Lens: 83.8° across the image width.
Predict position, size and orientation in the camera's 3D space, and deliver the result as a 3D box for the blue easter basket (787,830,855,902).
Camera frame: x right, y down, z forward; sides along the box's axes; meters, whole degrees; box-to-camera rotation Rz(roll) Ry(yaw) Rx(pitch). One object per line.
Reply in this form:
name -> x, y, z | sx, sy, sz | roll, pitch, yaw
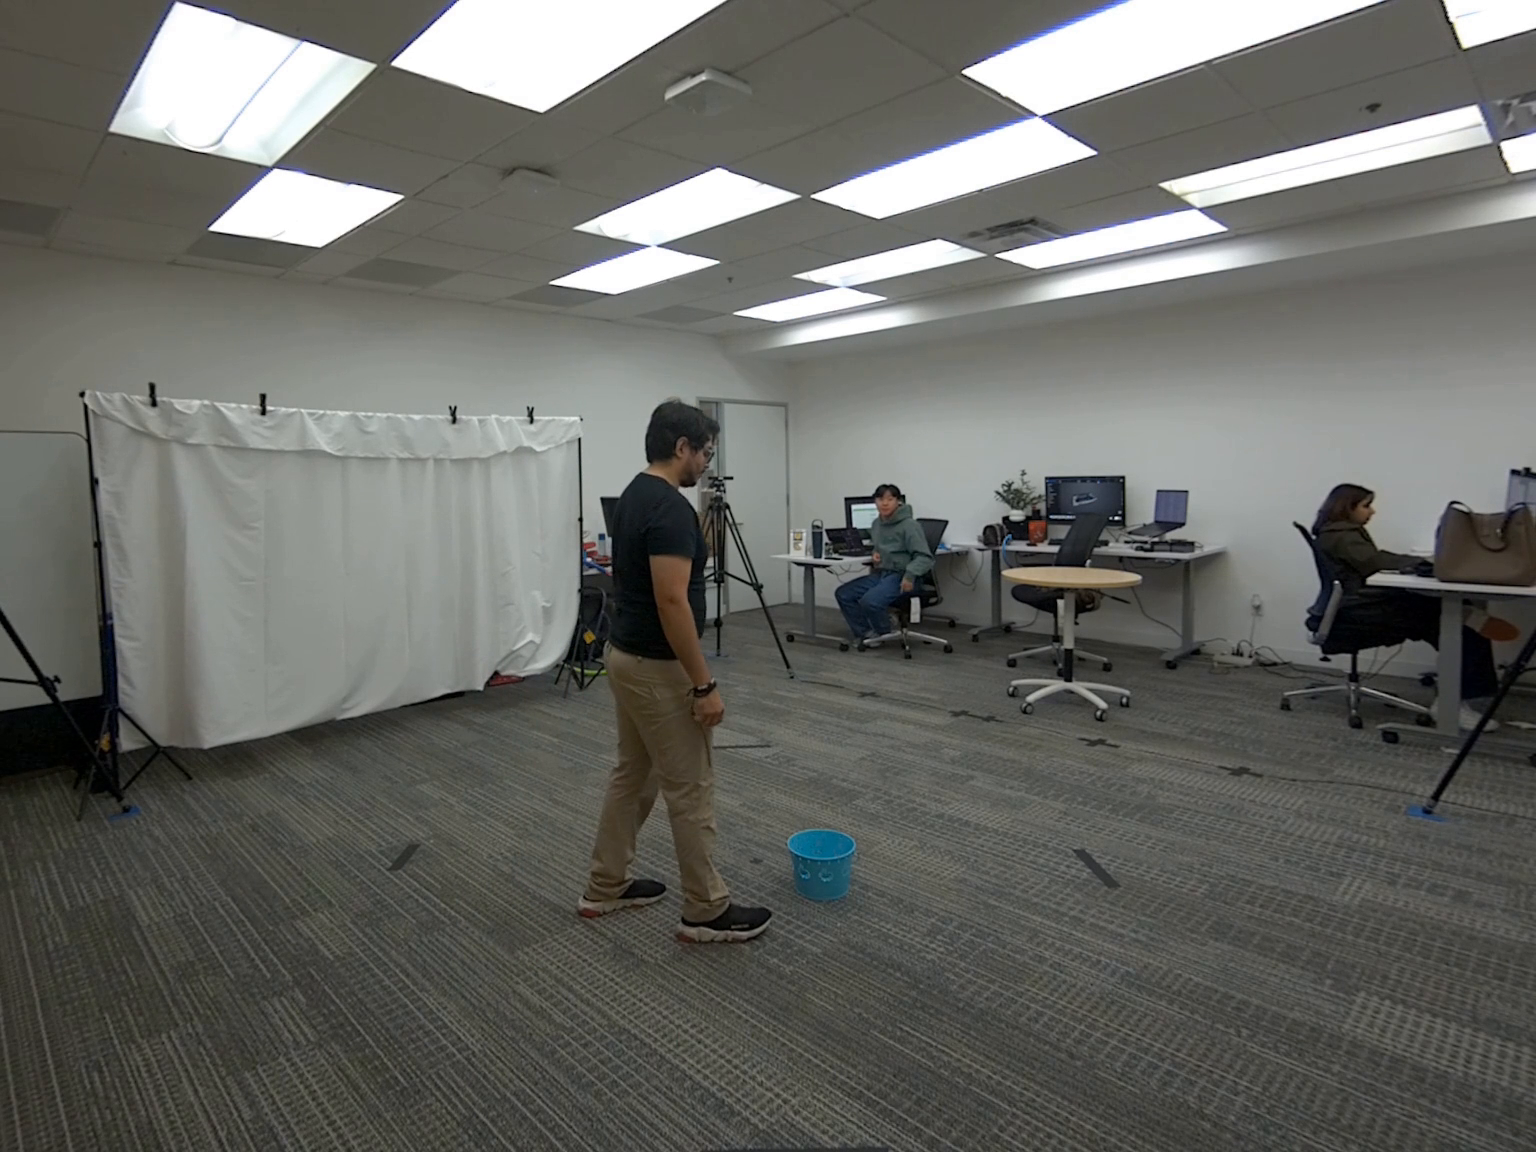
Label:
blue easter basket -> 0.185, 0.978, 2.897 | 0.243, 0.155, 0.245 | -2, 5, -2
